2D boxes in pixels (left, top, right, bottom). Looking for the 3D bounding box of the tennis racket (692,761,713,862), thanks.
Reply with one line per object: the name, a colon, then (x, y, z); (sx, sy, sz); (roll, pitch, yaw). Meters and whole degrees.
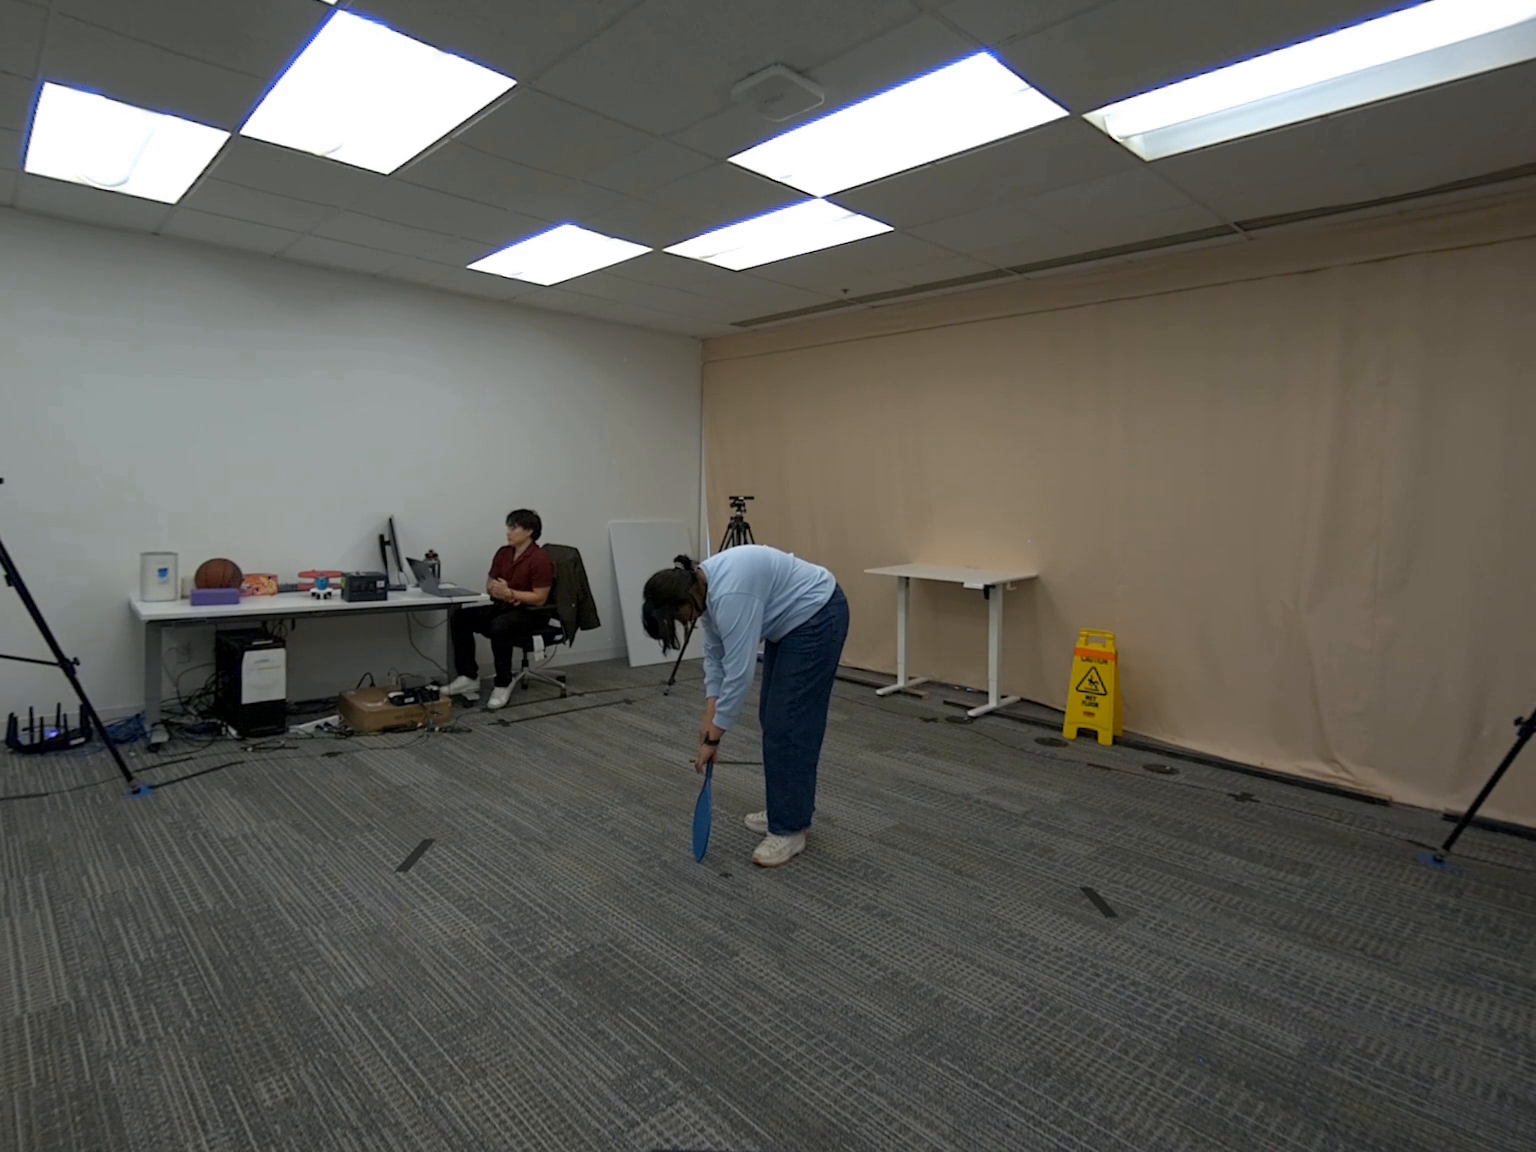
tennis racket: (-0.237, 0.879, 3.245); (0.032, 0.435, 0.211); (9, -9, 6)
